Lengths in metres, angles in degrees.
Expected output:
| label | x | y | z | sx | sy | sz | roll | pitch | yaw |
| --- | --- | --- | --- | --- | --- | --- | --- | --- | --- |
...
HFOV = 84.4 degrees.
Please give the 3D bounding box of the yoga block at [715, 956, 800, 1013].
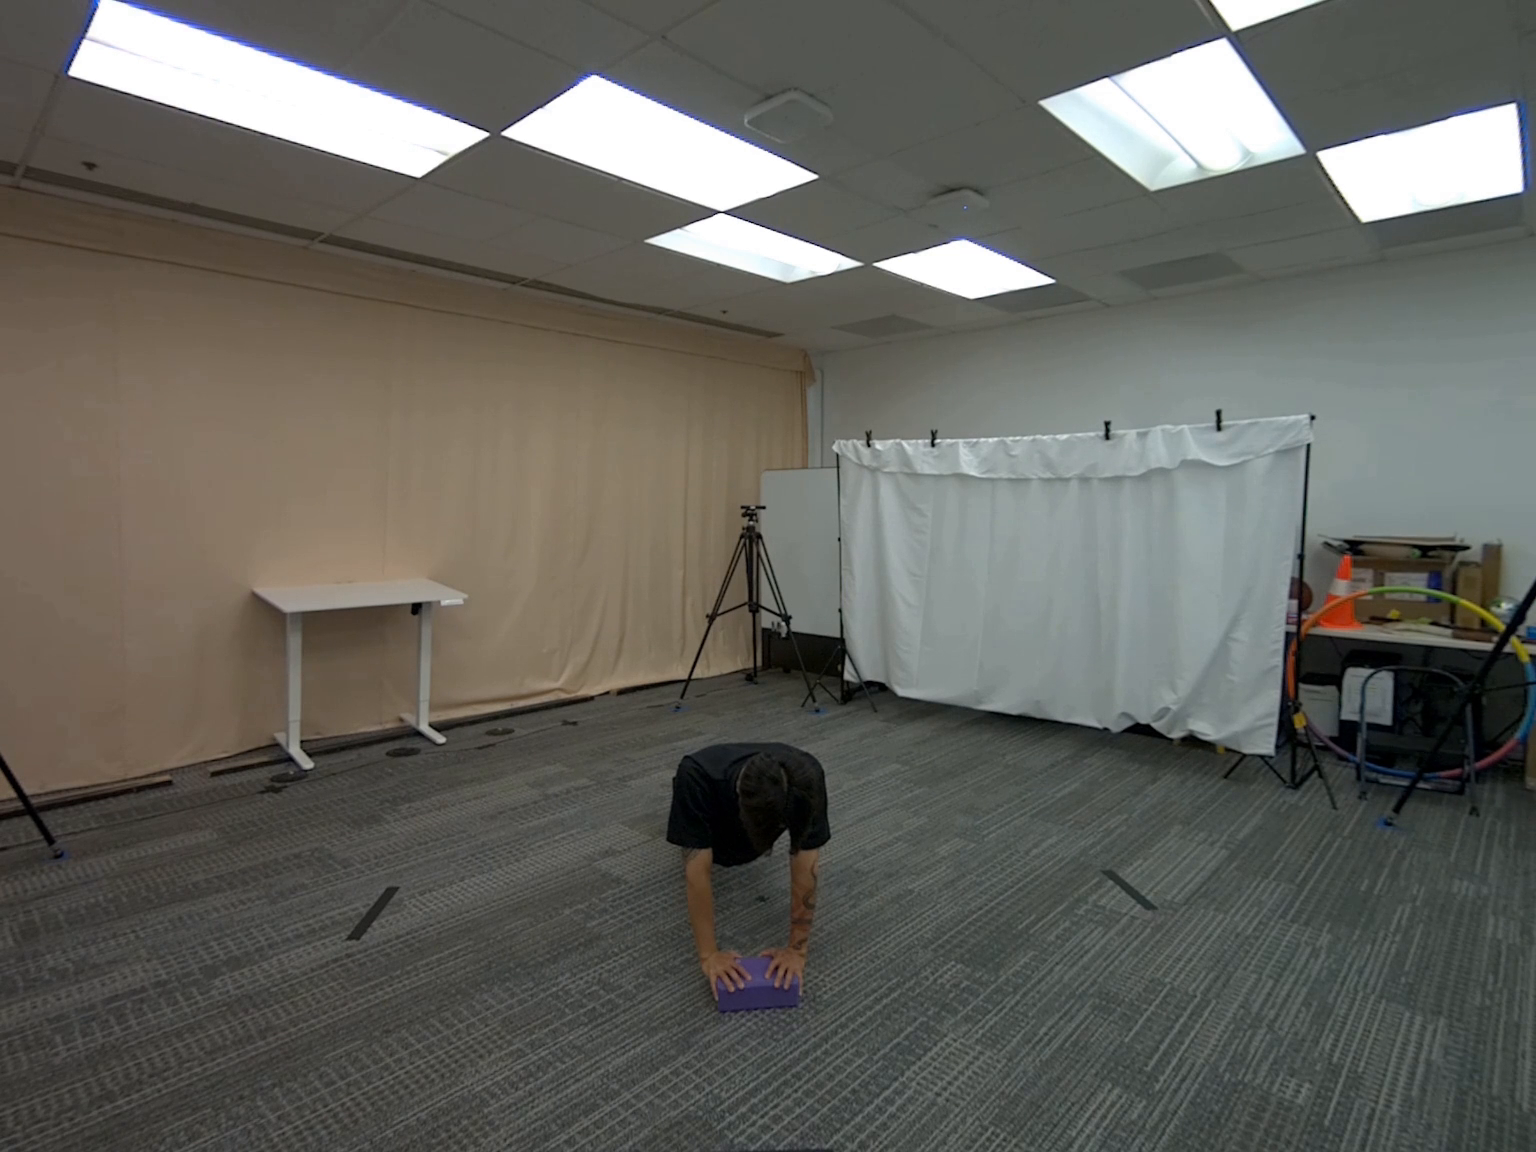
| label | x | y | z | sx | sy | sz | roll | pitch | yaw |
| --- | --- | --- | --- | --- | --- | --- | --- | --- | --- |
| yoga block | -0.038 | 1.152 | 2.394 | 0.227 | 0.076 | 0.150 | 0 | 3 | -9 |
